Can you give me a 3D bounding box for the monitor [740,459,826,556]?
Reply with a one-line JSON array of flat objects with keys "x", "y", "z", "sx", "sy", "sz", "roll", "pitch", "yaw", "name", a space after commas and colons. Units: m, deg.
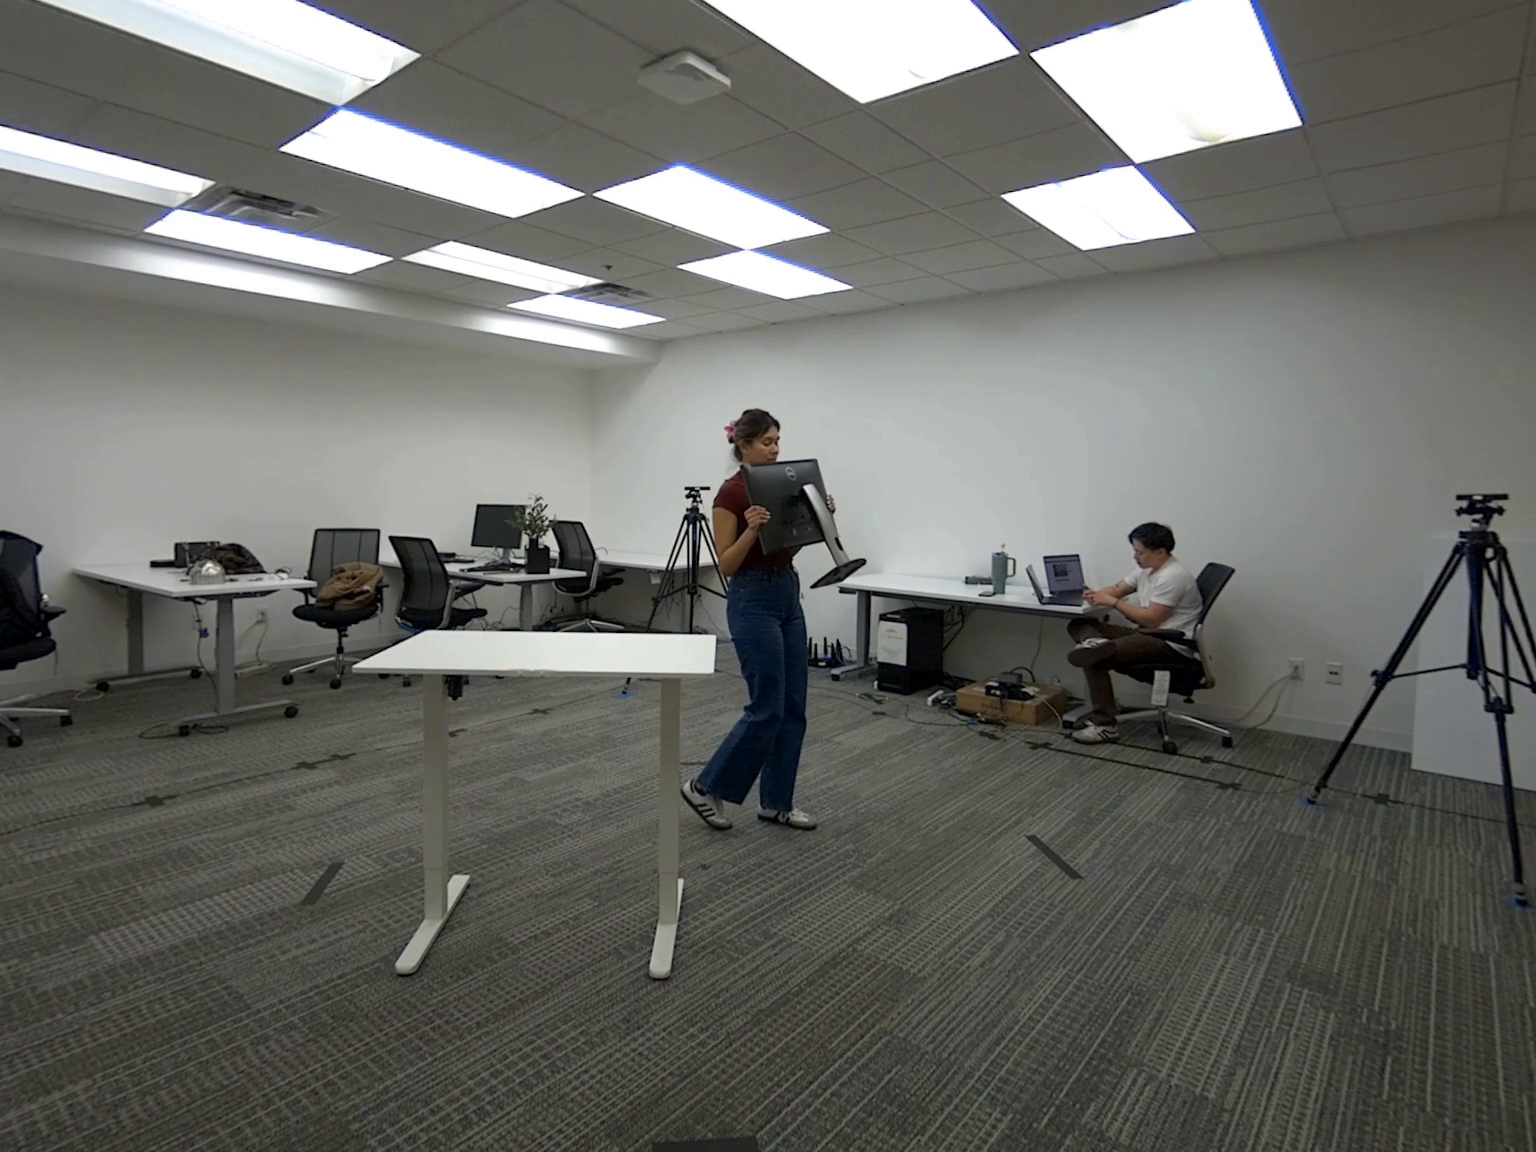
[{"x": 0.158, "y": -0.223, "z": 3.341, "sx": 0.188, "sy": 0.532, "sz": 0.526, "roll": -36, "pitch": -14, "yaw": 34, "name": "monitor"}]
